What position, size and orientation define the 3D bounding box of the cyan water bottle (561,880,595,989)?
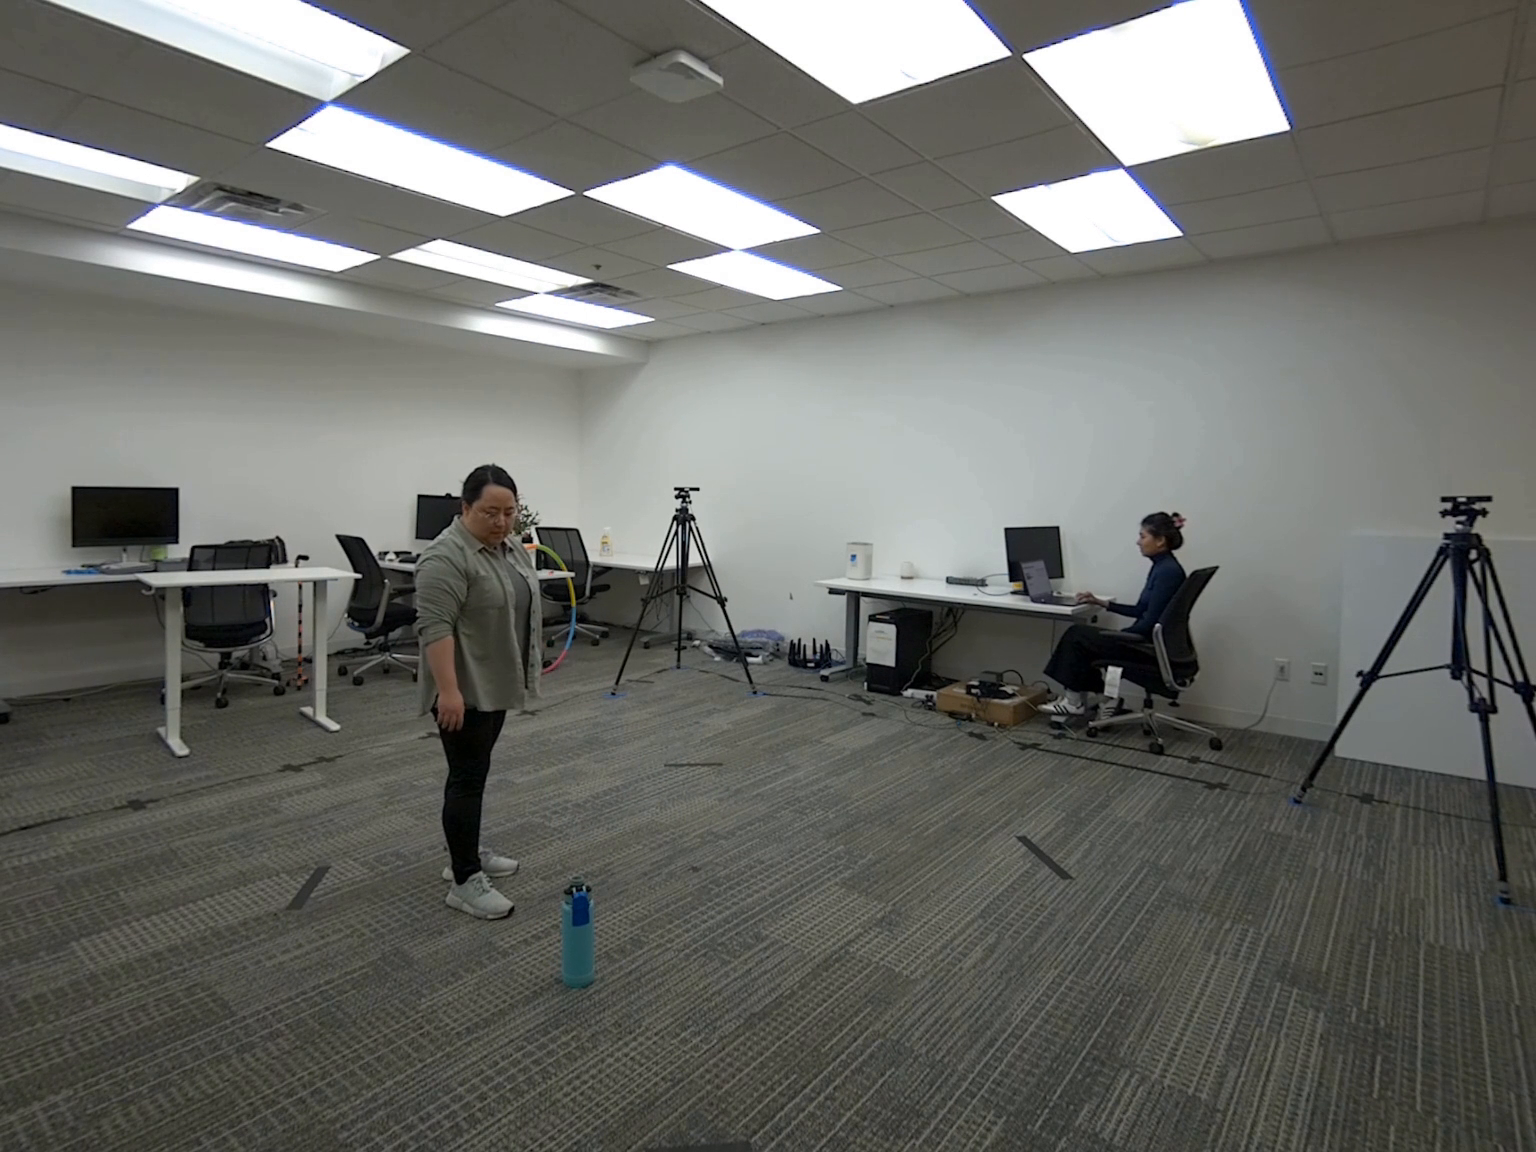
[{"bbox_3d":[-0.542,0.995,2.384,0.092,0.282,0.093,0,4,-2],"label":"cyan water bottle"}]
